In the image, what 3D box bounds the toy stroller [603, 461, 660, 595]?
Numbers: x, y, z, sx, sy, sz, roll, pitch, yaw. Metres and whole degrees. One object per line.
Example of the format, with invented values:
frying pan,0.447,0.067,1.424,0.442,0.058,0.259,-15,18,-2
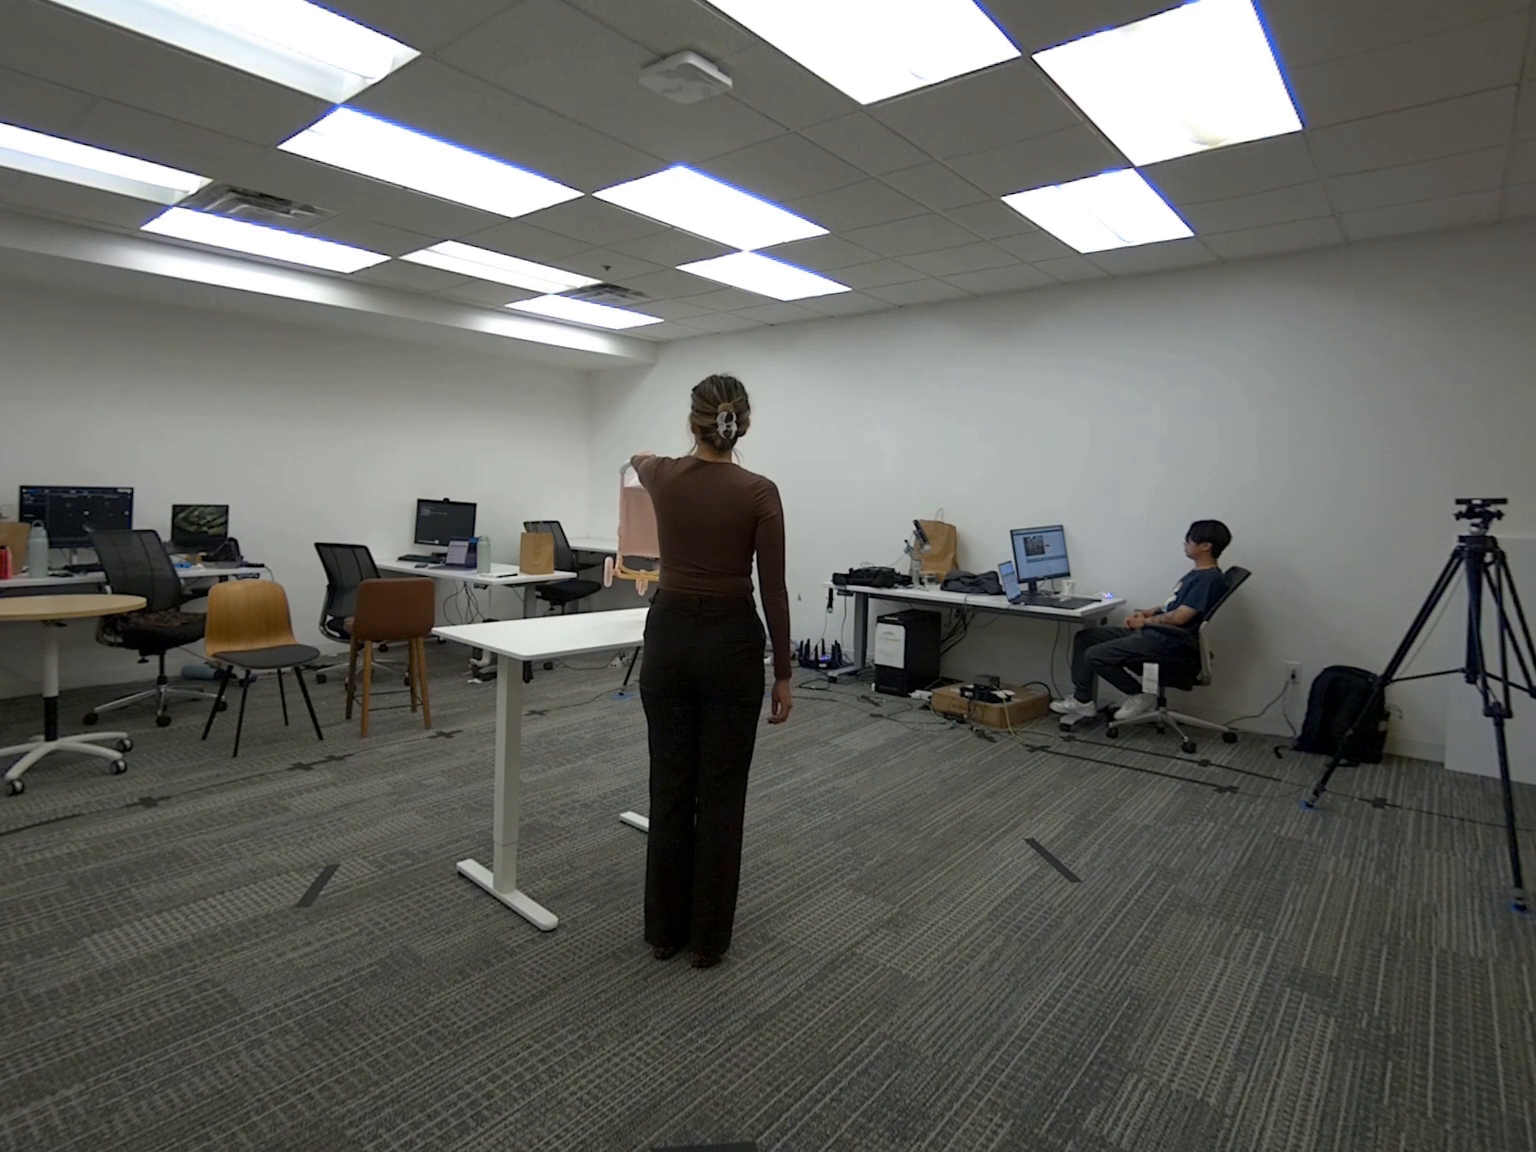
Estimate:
toy stroller,-0.495,-0.176,3.315,0.281,0.534,0.342,4,3,-2
